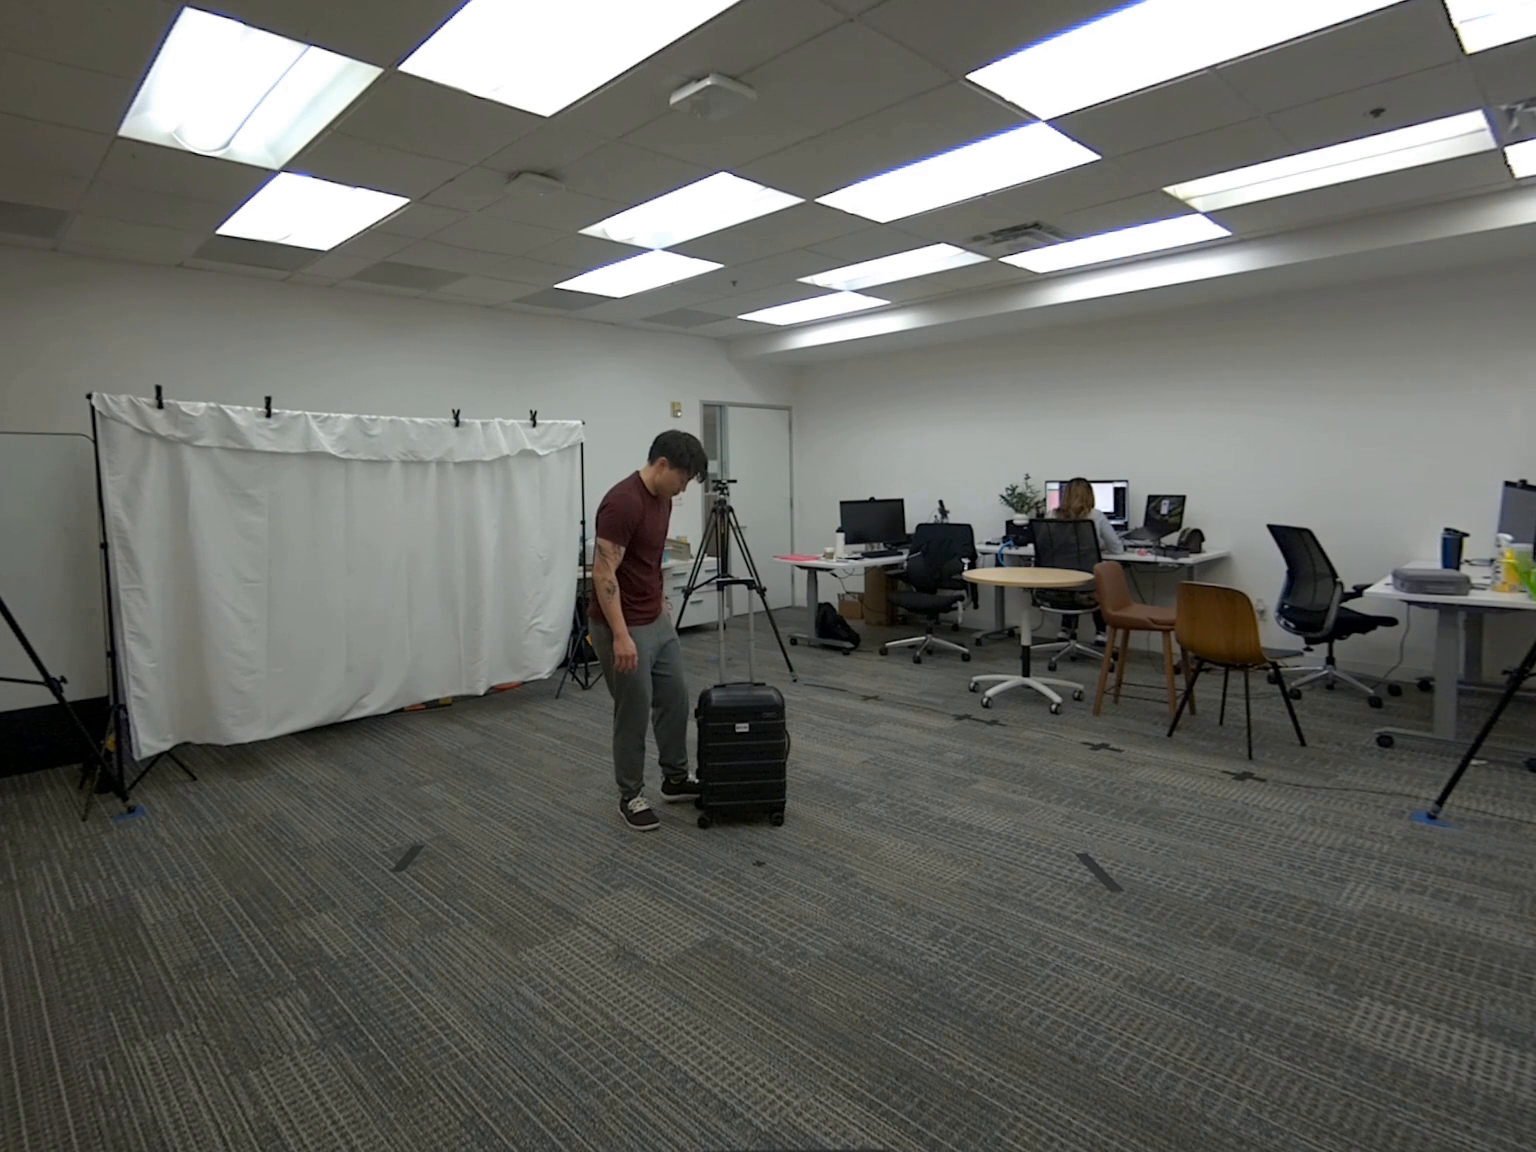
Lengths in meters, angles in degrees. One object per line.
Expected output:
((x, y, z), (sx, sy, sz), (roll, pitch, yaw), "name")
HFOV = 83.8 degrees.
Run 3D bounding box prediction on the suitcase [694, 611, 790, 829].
((-0.108, 0.527, 3.529), (0.382, 0.976, 0.259), (-1, 3, -6), "suitcase")
